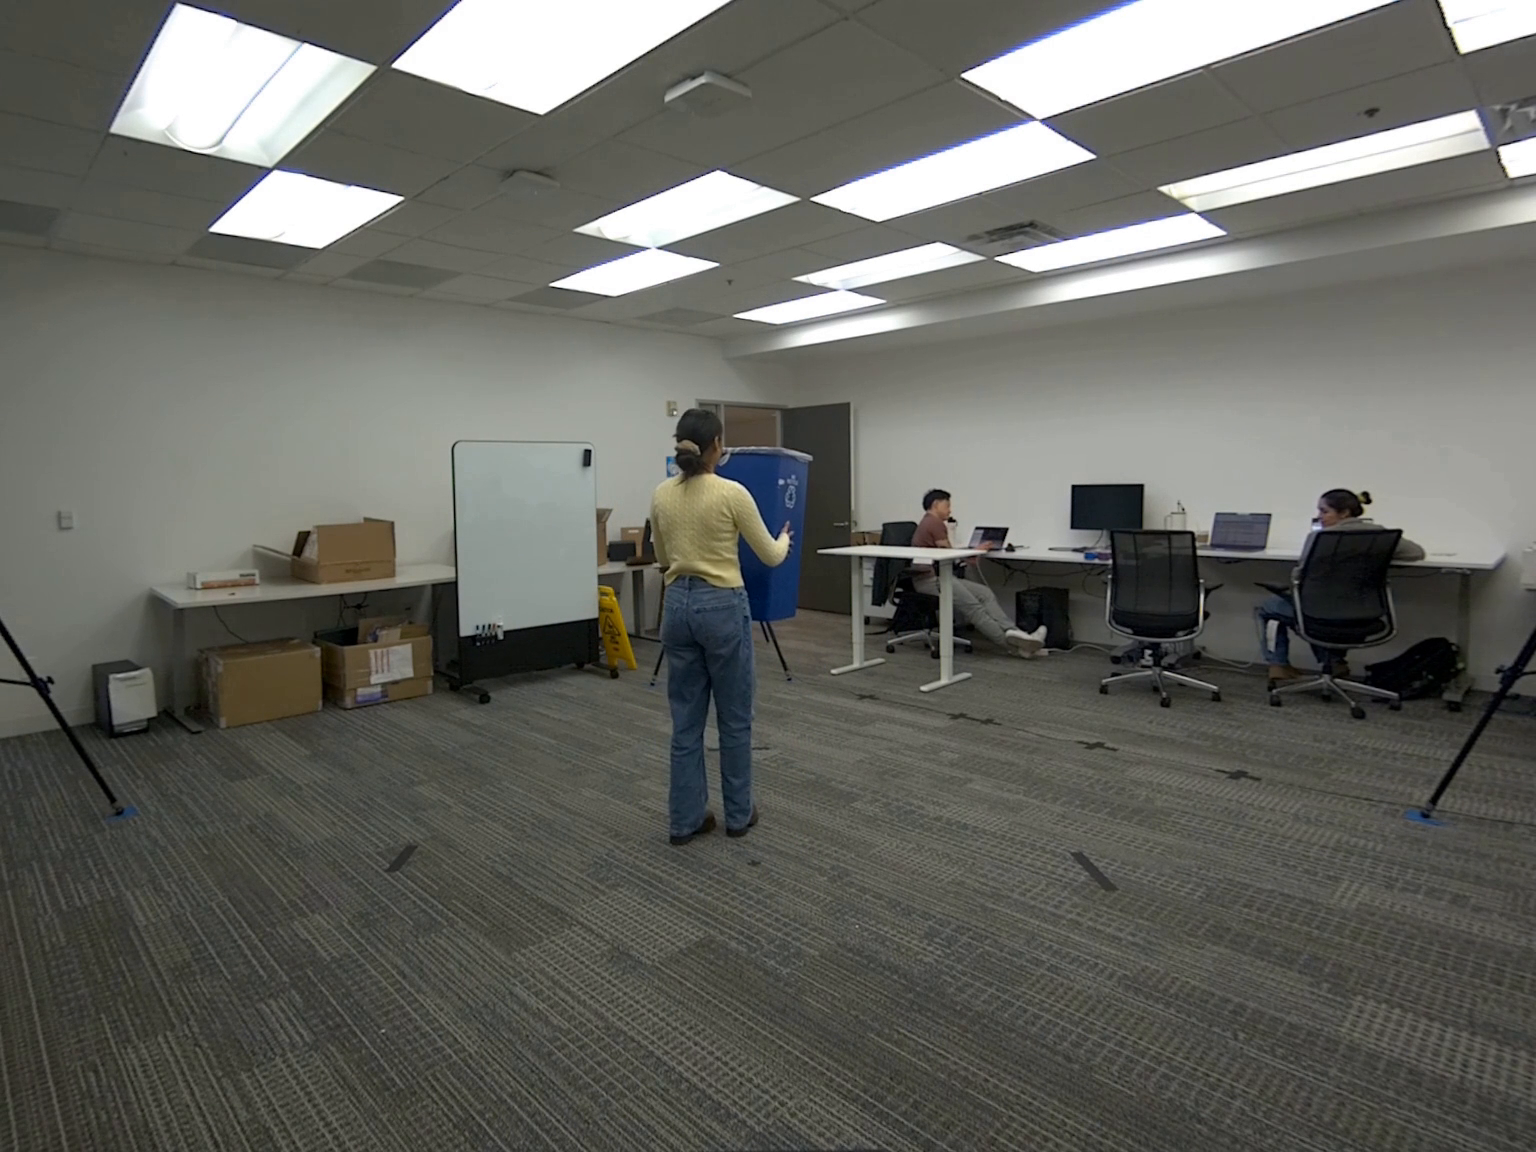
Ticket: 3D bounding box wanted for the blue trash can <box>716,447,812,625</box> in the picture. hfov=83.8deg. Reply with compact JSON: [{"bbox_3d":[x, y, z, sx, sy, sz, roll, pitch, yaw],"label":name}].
[{"bbox_3d":[-0.058,-0.187,3.711,0.387,0.712,0.366,4,2,25],"label":"blue trash can"}]
